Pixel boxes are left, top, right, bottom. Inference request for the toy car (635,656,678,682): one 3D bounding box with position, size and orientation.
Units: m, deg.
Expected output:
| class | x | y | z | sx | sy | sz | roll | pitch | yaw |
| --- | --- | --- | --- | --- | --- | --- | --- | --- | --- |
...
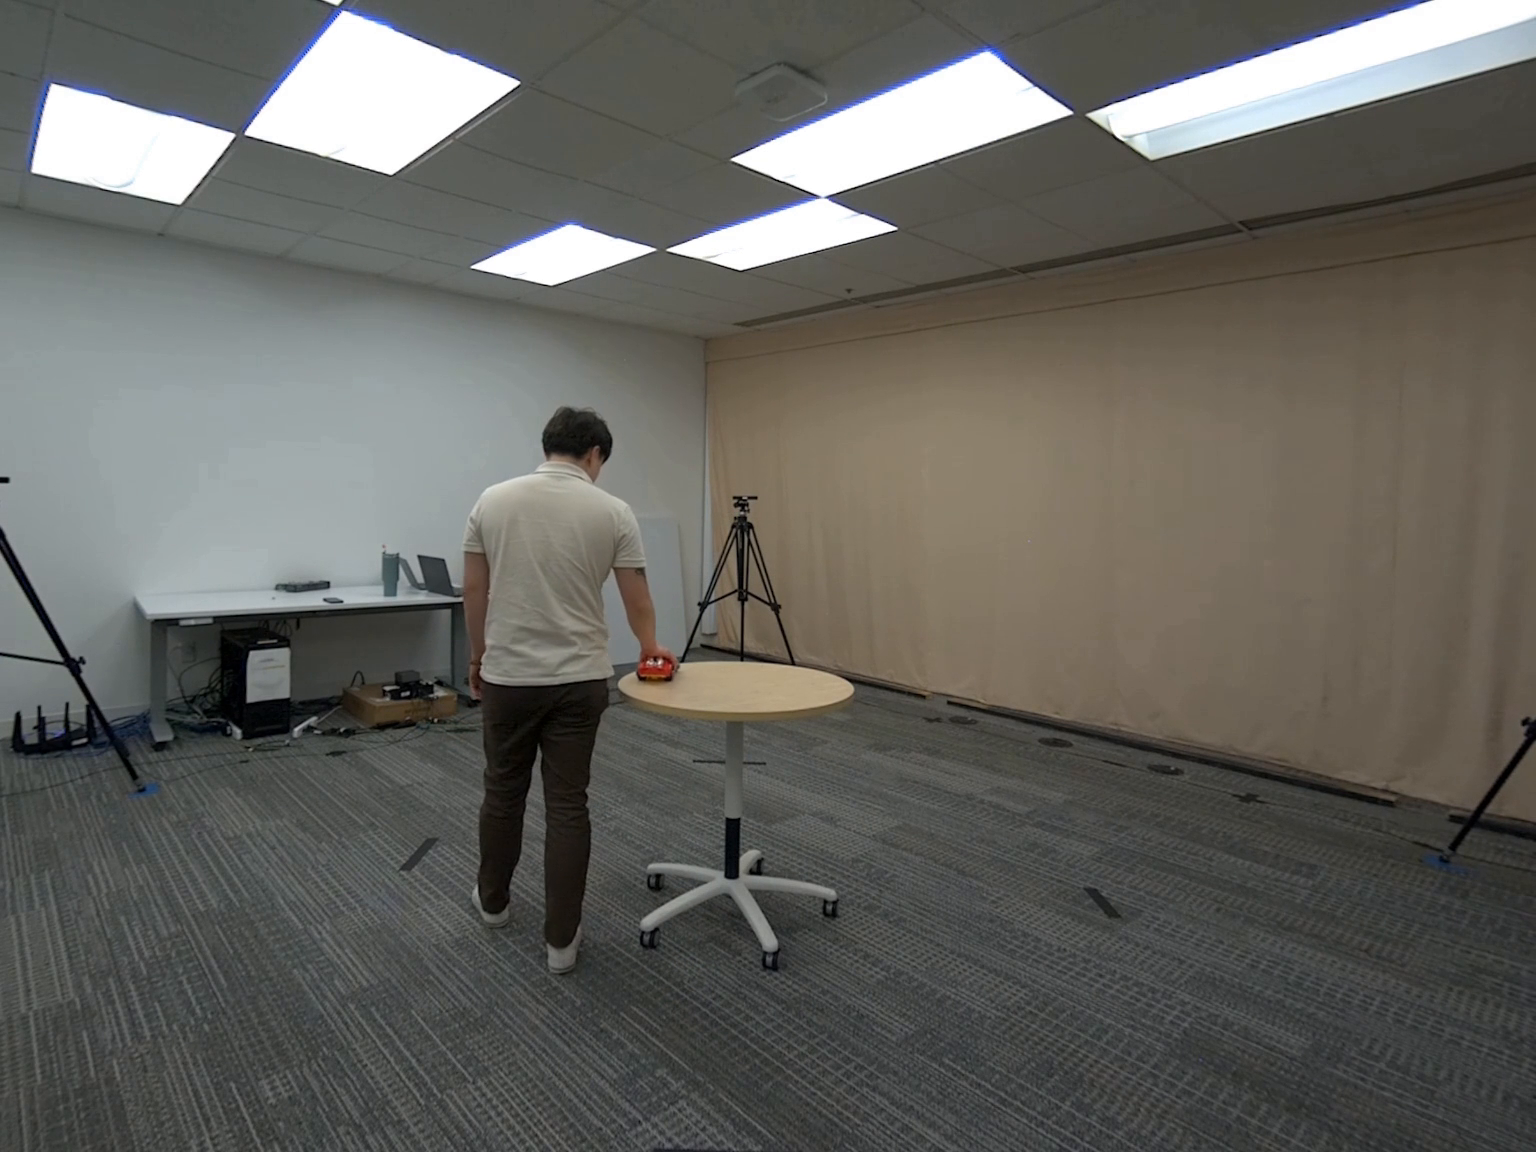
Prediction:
| class | x | y | z | sx | sy | sz | roll | pitch | yaw |
| --- | --- | --- | --- | --- | --- | --- | --- | --- | --- |
| toy car | -0.380 | 0.311 | 2.812 | 0.130 | 0.084 | 0.252 | 2 | -7 | 1 |
